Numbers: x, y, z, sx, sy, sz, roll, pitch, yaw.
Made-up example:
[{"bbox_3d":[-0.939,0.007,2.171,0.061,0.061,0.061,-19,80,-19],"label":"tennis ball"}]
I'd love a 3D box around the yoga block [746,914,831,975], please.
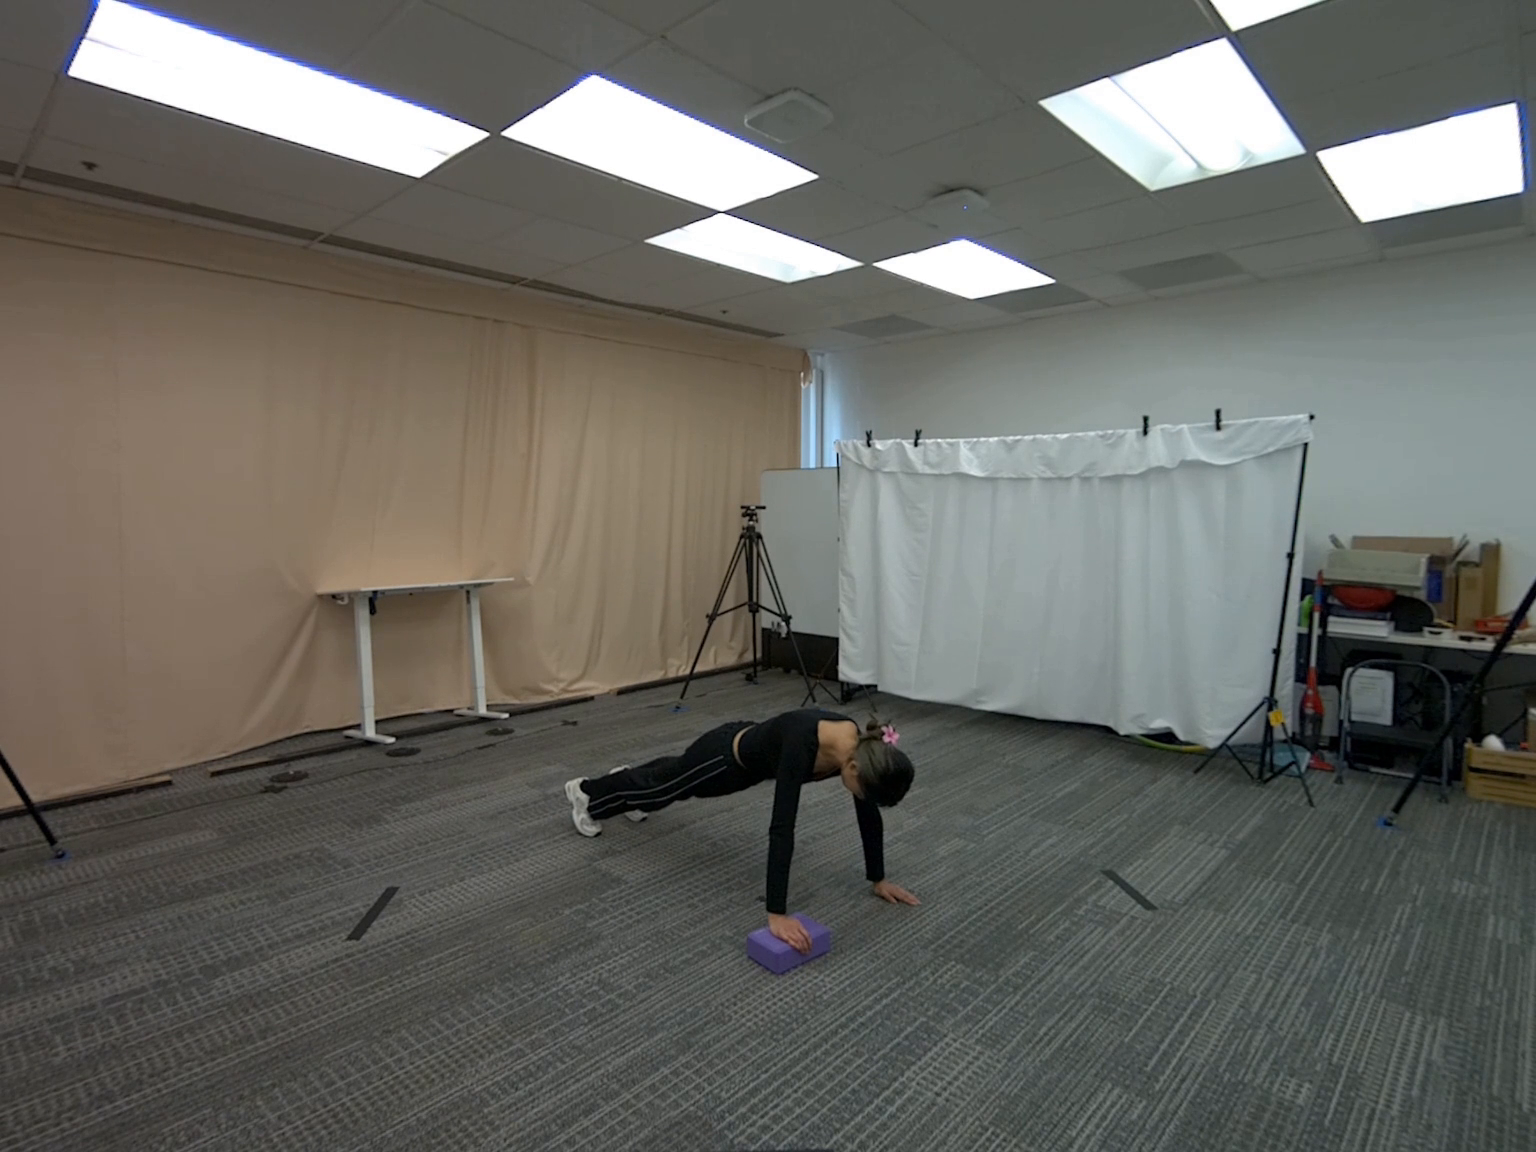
[{"bbox_3d":[0.068,1.138,2.616,0.222,0.076,0.154,-6,7,-39],"label":"yoga block"}]
